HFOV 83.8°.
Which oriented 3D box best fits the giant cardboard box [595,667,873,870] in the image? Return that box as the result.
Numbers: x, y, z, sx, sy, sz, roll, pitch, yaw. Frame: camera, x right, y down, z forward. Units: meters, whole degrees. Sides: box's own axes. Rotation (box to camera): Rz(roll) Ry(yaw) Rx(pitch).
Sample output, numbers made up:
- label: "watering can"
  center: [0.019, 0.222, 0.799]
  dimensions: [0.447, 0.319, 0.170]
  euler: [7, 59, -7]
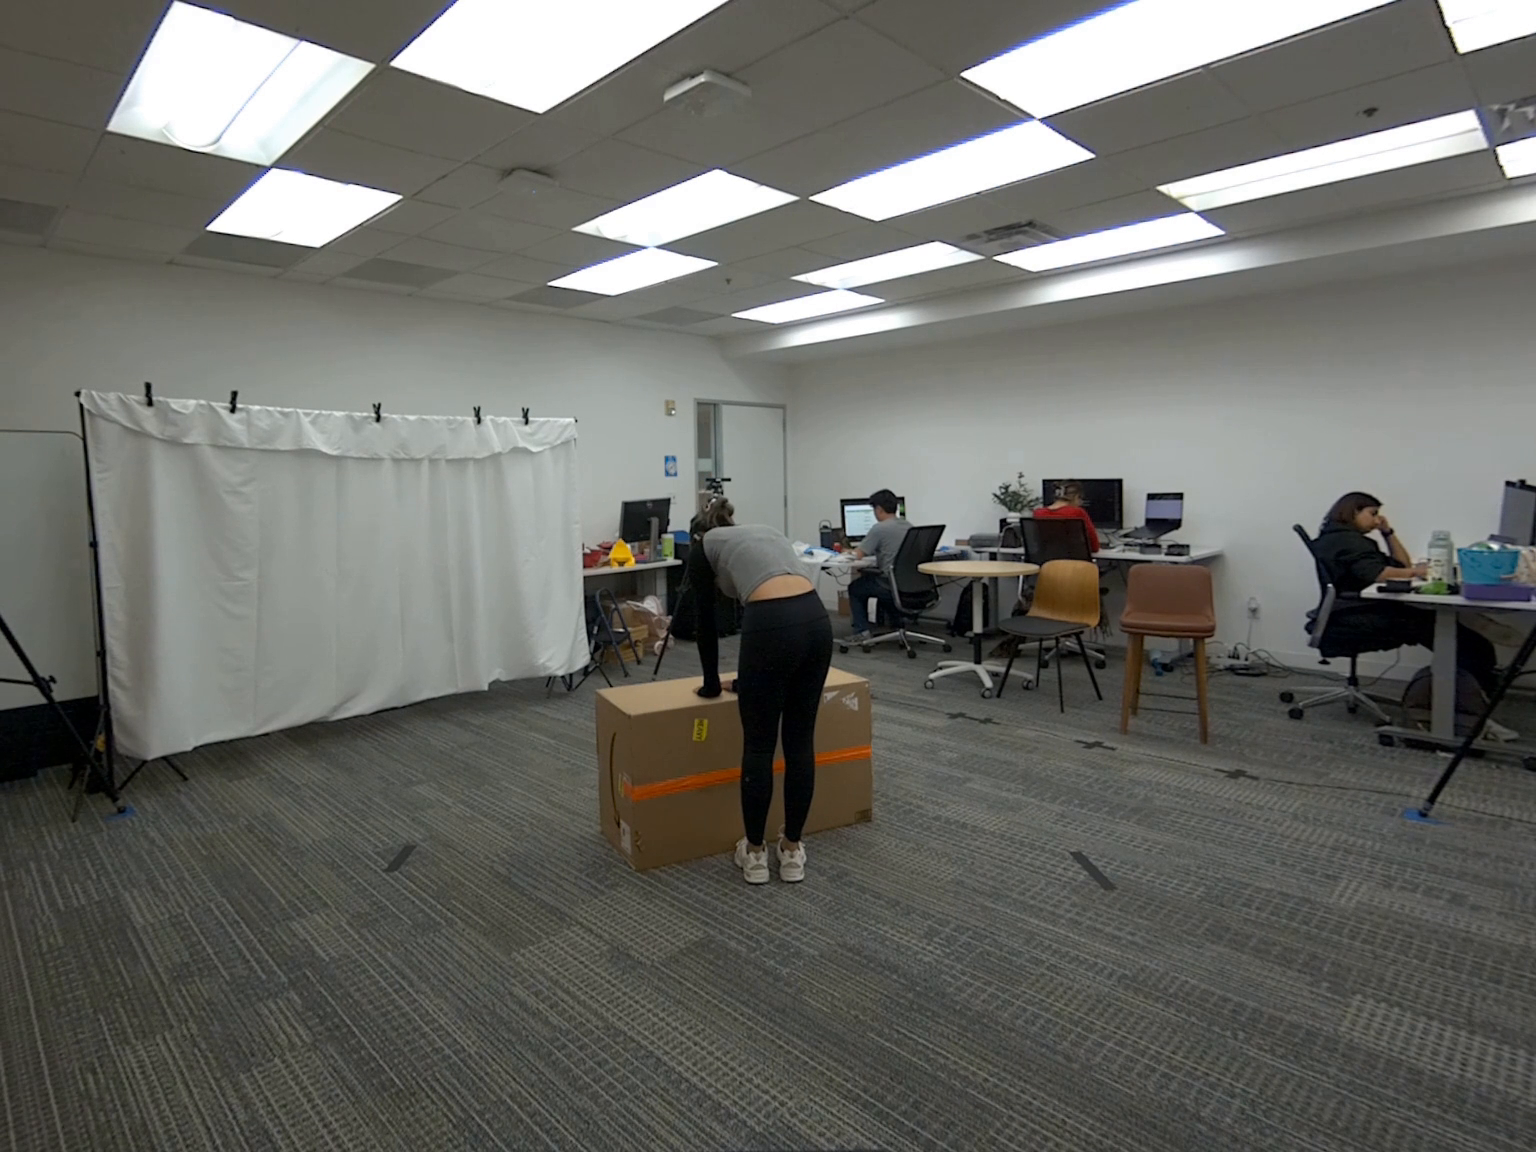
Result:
- label: "giant cardboard box"
  center: [-0.132, 0.720, 3.429]
  dimensions: [1.005, 0.575, 0.437]
  euler: [-4, 5, -25]
